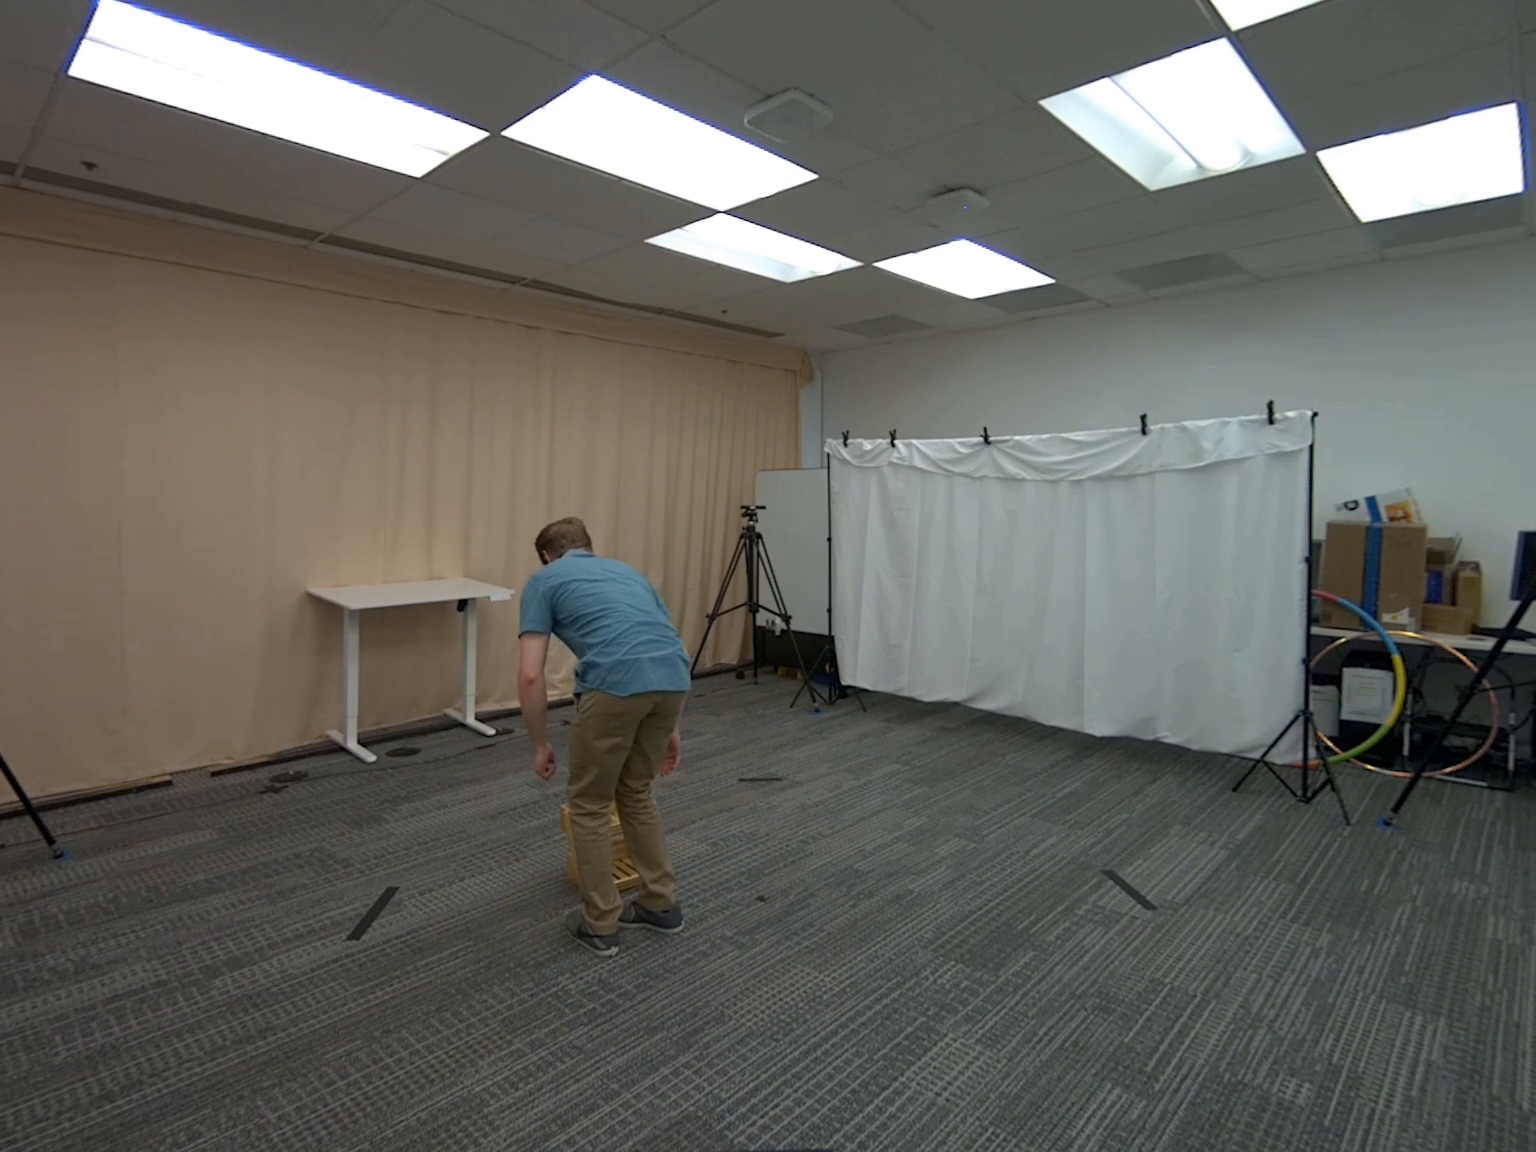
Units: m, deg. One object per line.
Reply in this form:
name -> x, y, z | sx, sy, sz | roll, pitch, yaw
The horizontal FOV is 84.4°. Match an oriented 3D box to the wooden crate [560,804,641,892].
wooden crate -> -0.580, 0.999, 3.170 | 0.315, 0.273, 0.311 | -3, 4, -37
